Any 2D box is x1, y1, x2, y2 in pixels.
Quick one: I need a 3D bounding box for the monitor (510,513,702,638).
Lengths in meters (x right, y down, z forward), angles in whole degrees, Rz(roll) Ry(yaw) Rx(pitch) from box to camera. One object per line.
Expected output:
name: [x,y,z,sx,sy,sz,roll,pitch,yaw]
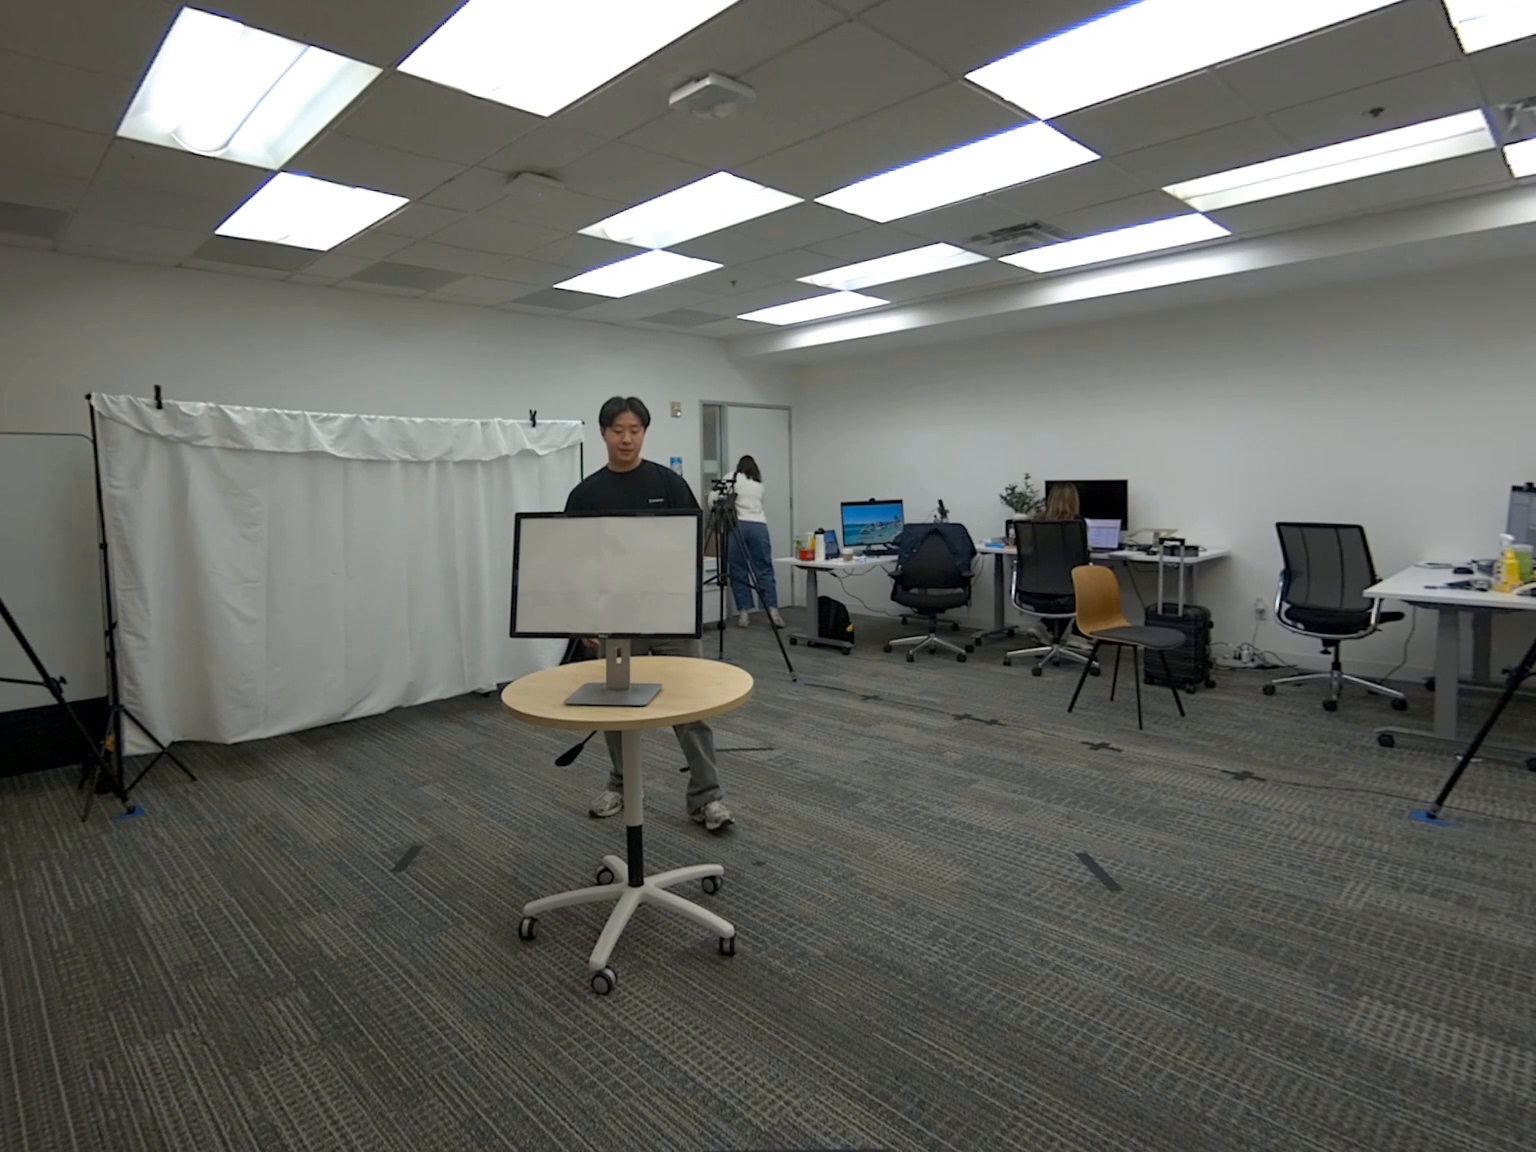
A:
monitor: [-0.451,0.097,2.455,0.568,0.562,0.221,-1,7,11]
